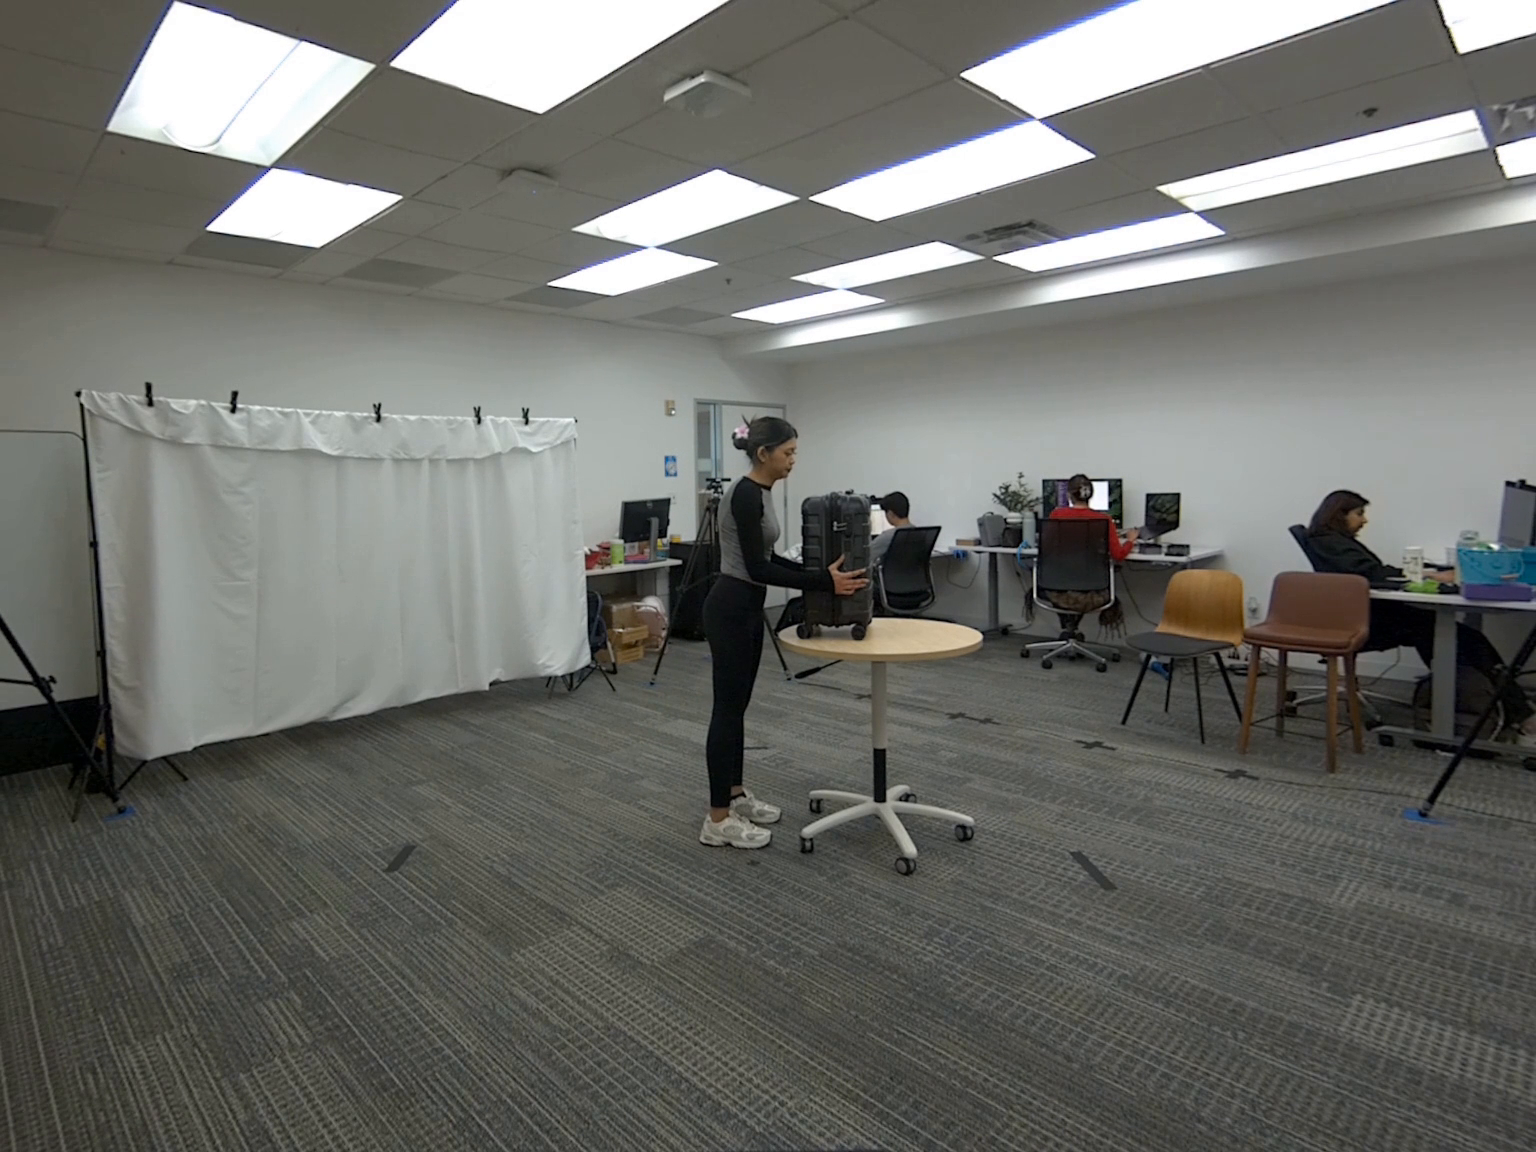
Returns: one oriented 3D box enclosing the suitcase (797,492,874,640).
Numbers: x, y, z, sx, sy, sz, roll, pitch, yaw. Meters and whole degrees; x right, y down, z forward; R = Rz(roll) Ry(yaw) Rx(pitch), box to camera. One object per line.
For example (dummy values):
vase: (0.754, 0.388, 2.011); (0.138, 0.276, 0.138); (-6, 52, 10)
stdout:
suitcase: (0.268, -0.056, 3.299); (0.251, 0.547, 0.373); (0, 5, 10)
